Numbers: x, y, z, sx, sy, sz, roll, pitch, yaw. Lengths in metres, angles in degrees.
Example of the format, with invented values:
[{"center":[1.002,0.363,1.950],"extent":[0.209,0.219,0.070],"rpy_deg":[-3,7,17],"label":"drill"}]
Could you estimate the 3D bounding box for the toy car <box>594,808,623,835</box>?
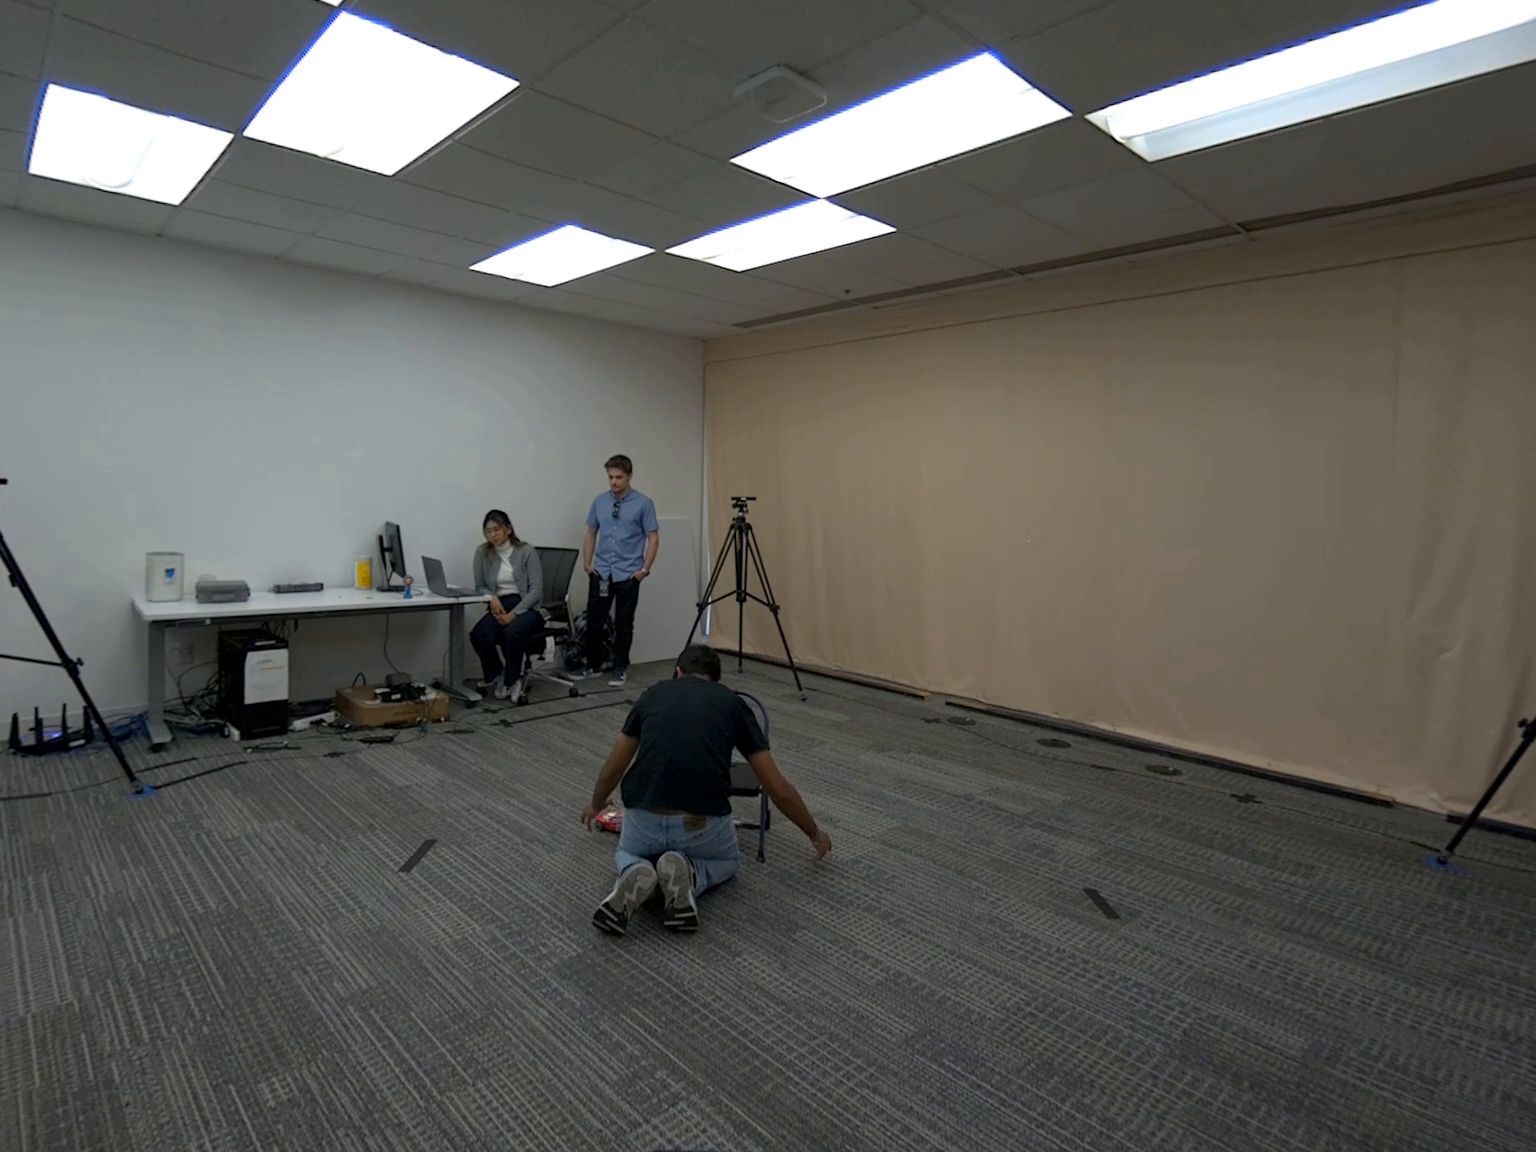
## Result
[{"center":[-0.587,1.026,3.491],"extent":[0.259,0.083,0.128],"rpy_deg":[-9,-1,27],"label":"toy car"}]
